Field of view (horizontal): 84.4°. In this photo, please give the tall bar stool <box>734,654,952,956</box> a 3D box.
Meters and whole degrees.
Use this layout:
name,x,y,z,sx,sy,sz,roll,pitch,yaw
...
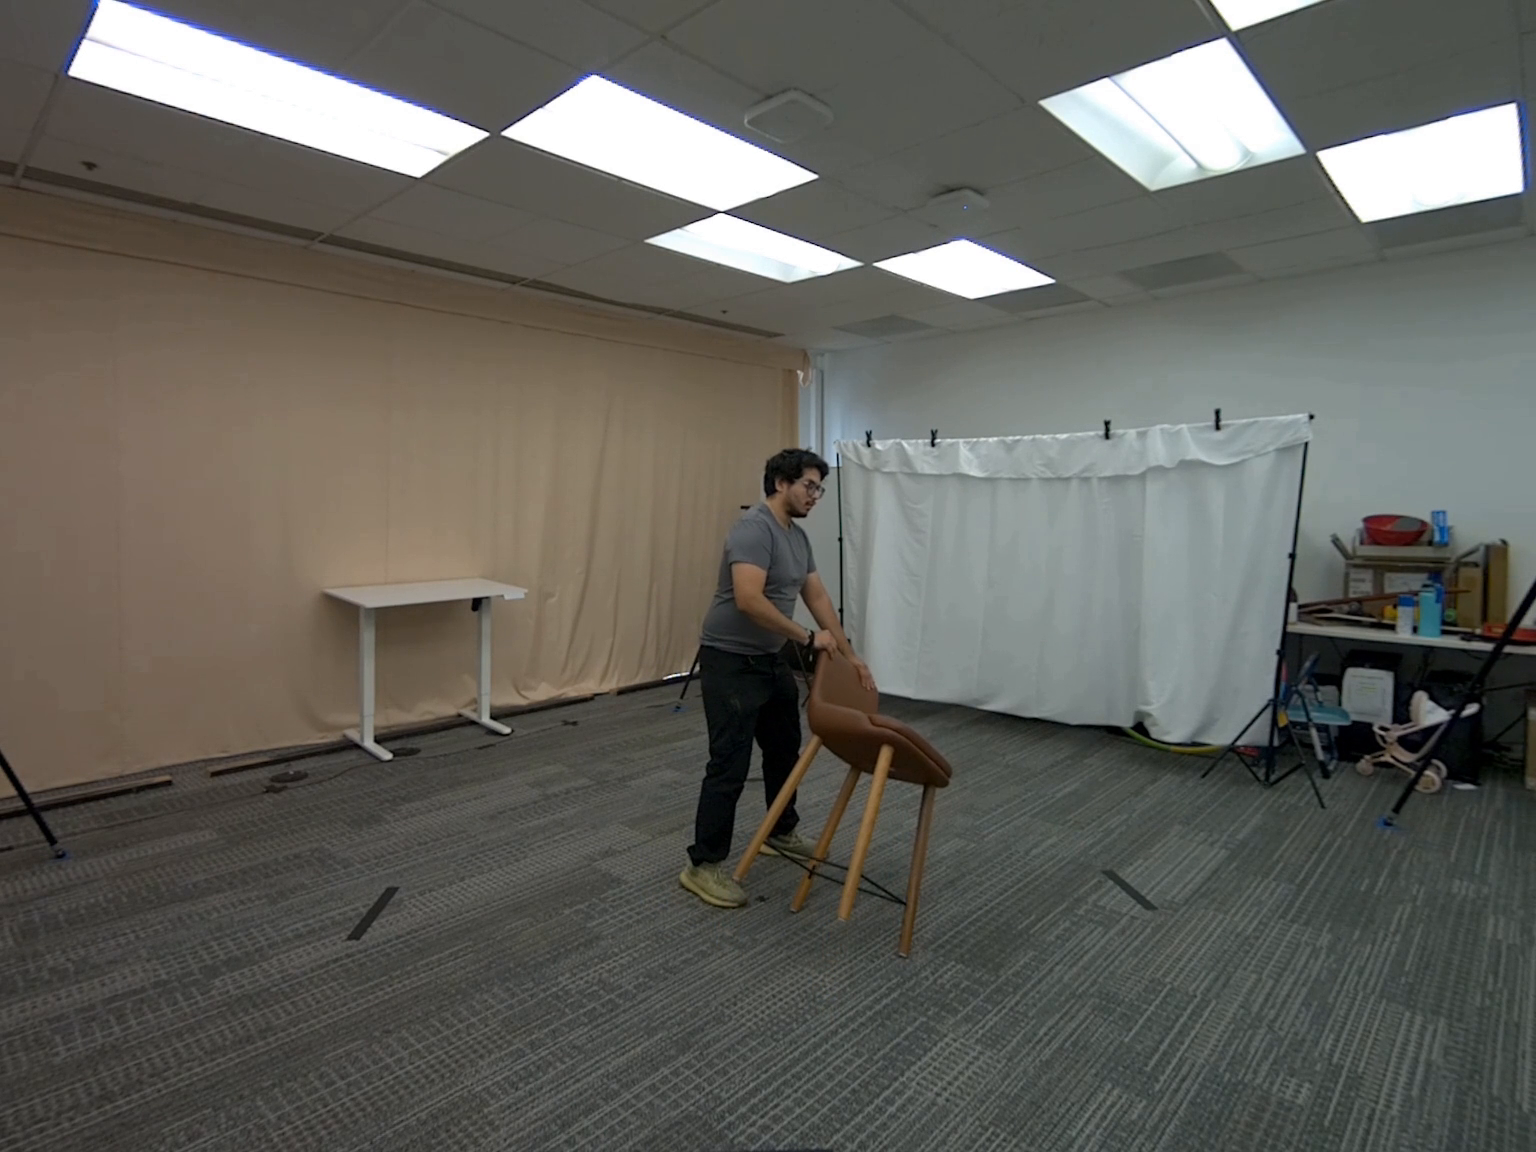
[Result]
name,x,y,z,sx,sy,sz,roll,pitch,yaw
tall bar stool,0.316,0.696,2.799,0.482,0.893,0.440,-1,-32,42
